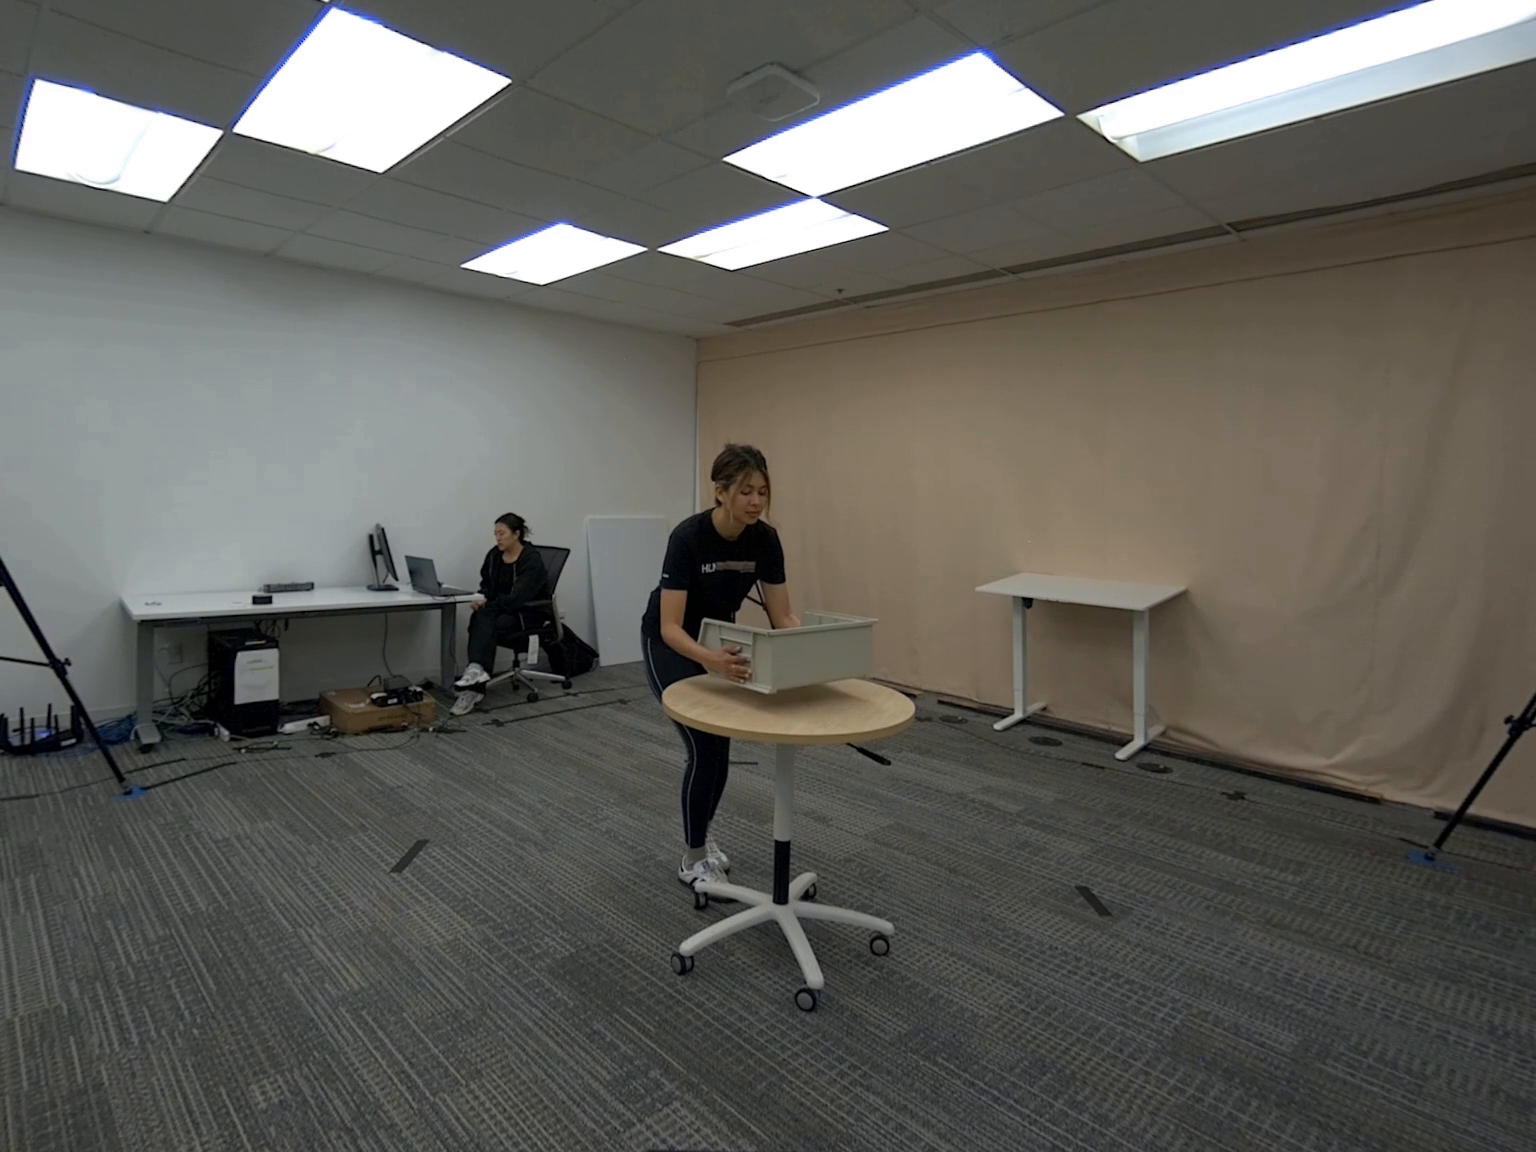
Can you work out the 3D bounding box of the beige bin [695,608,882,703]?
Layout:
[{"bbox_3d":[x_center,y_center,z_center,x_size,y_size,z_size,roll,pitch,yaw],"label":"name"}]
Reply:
[{"bbox_3d":[0.055,0.225,2.577,0.413,0.188,0.387,-2,6,-37],"label":"beige bin"}]
